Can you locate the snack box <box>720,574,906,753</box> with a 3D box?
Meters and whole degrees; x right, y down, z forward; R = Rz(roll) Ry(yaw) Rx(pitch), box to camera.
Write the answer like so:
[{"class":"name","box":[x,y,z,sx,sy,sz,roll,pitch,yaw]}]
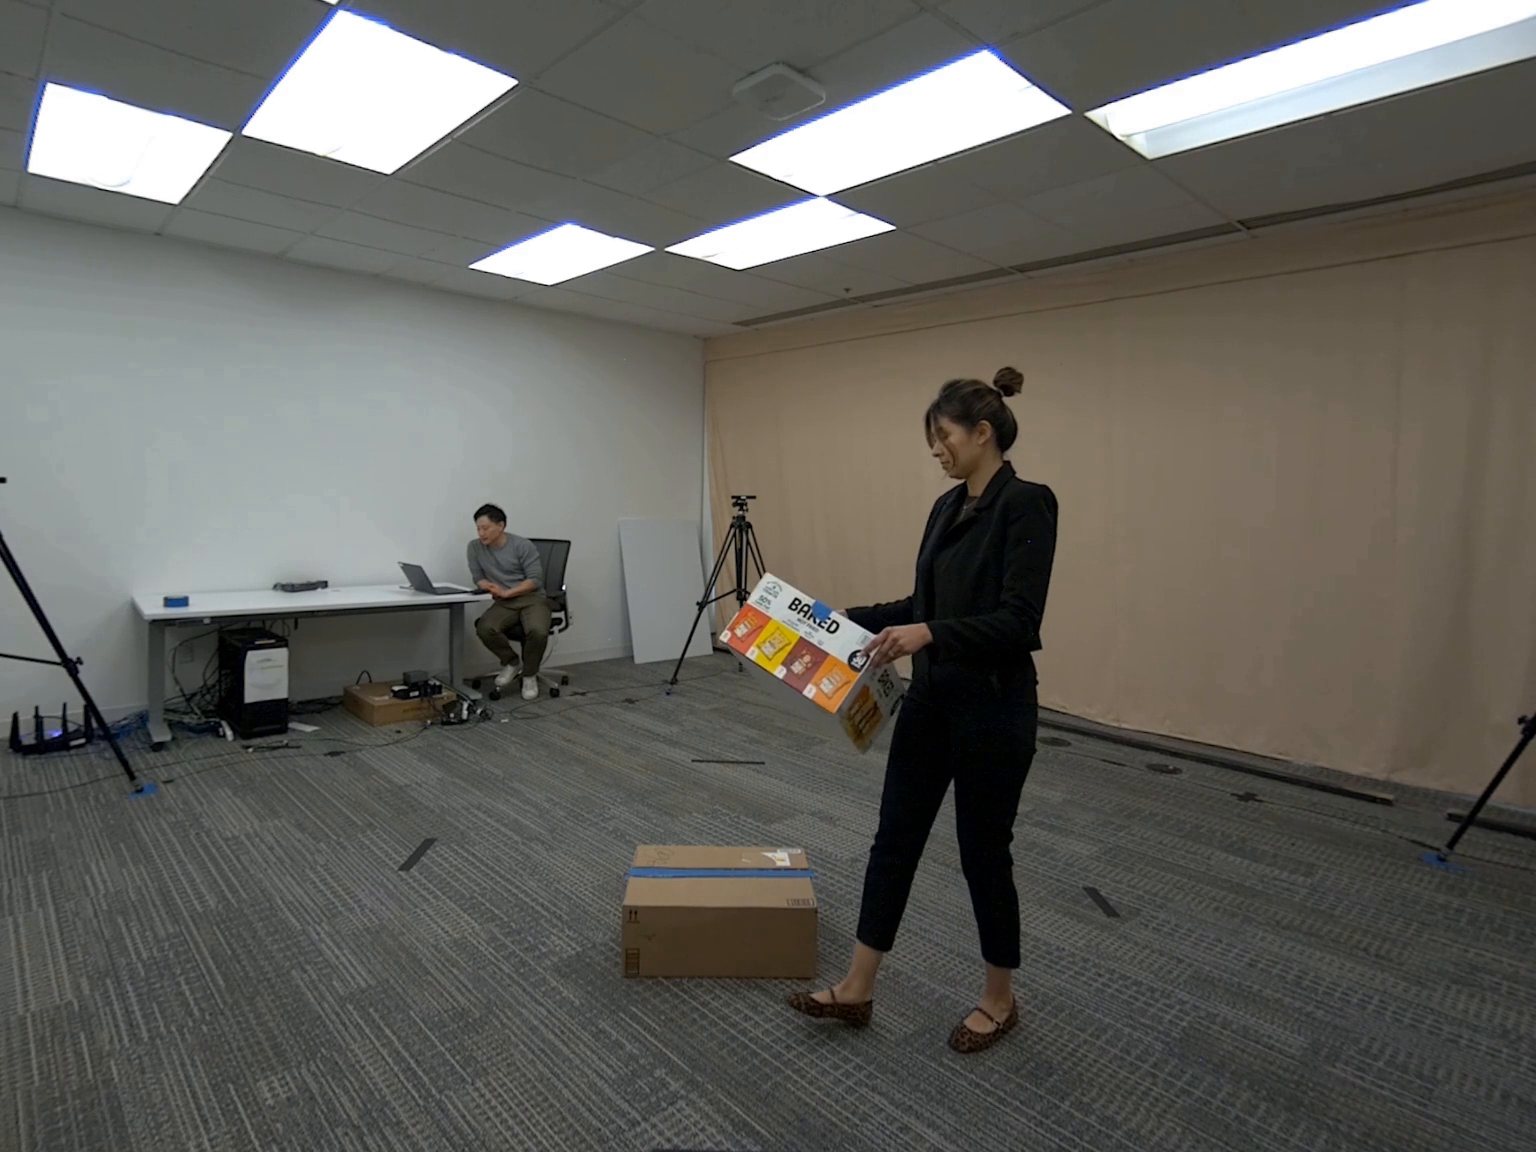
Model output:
[{"class":"snack box","box":[0.110,0.224,2.094,0.349,0.206,0.394,31,-13,28]}]
